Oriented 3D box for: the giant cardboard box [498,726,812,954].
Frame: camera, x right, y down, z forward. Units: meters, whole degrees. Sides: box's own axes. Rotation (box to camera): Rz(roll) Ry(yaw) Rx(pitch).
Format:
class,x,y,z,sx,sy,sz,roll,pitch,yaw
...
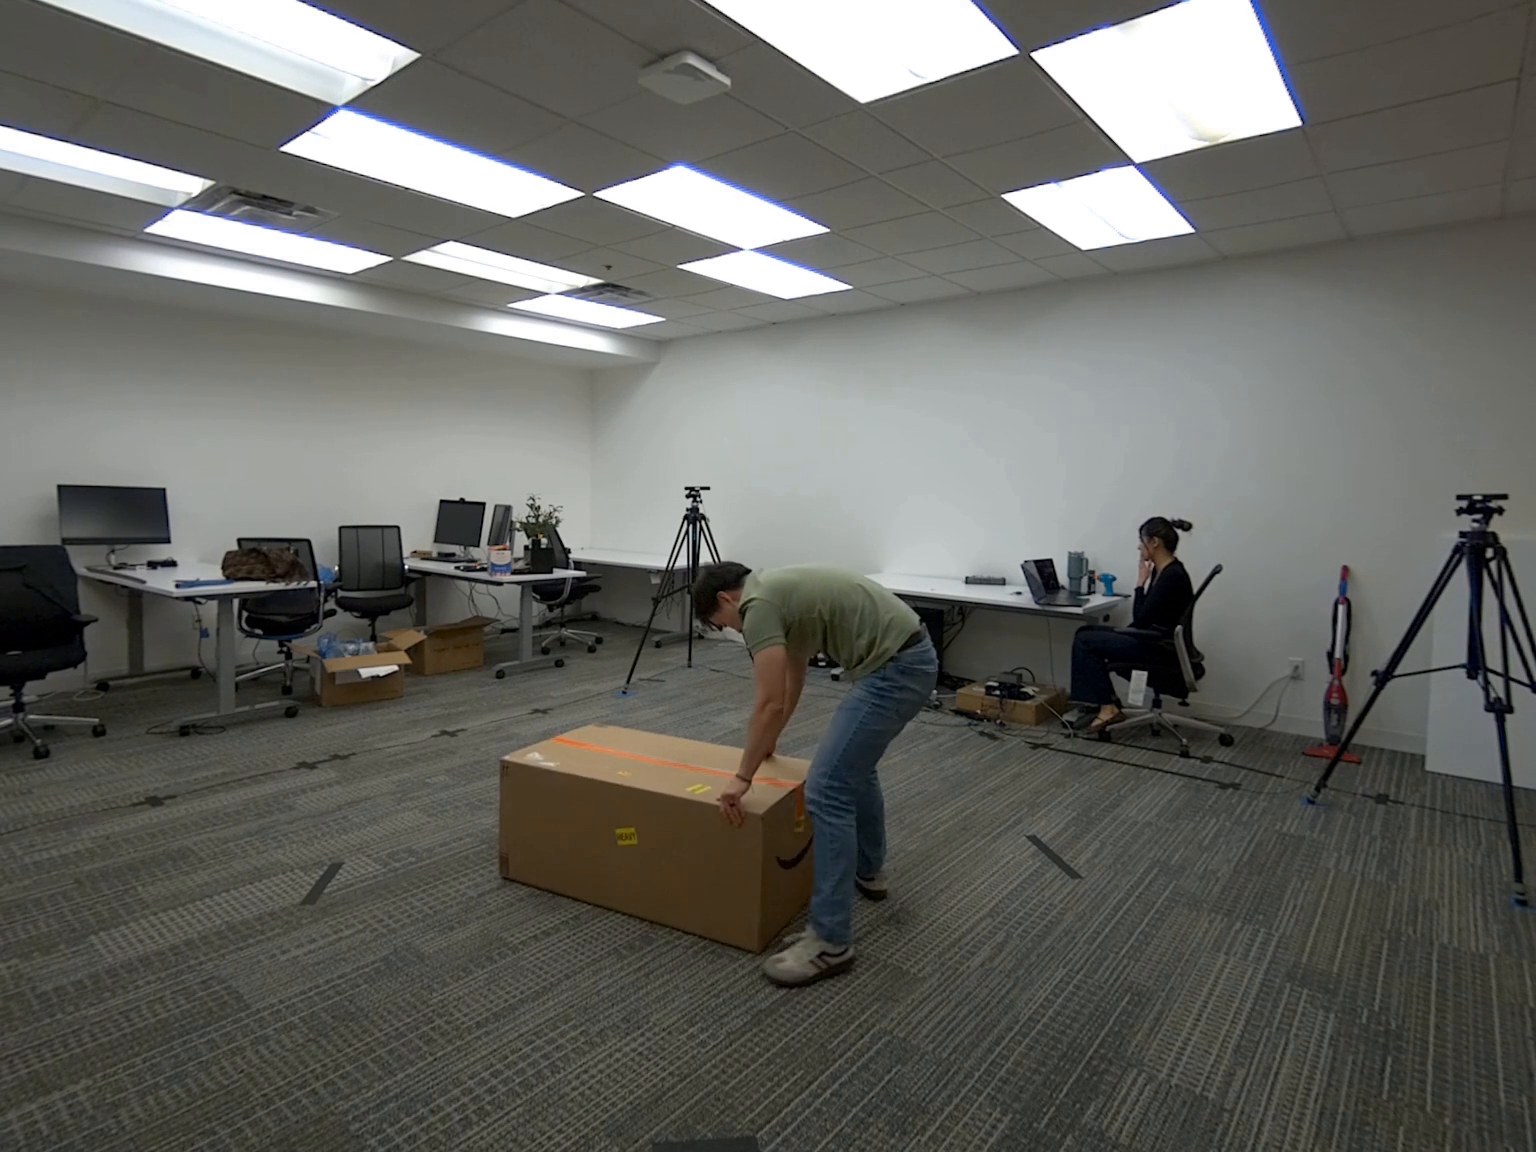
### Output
class,x,y,z,sx,sy,sz,roll,pitch,yaw
giant cardboard box,-0.377,0.860,3.007,1.054,0.425,0.564,4,5,27
